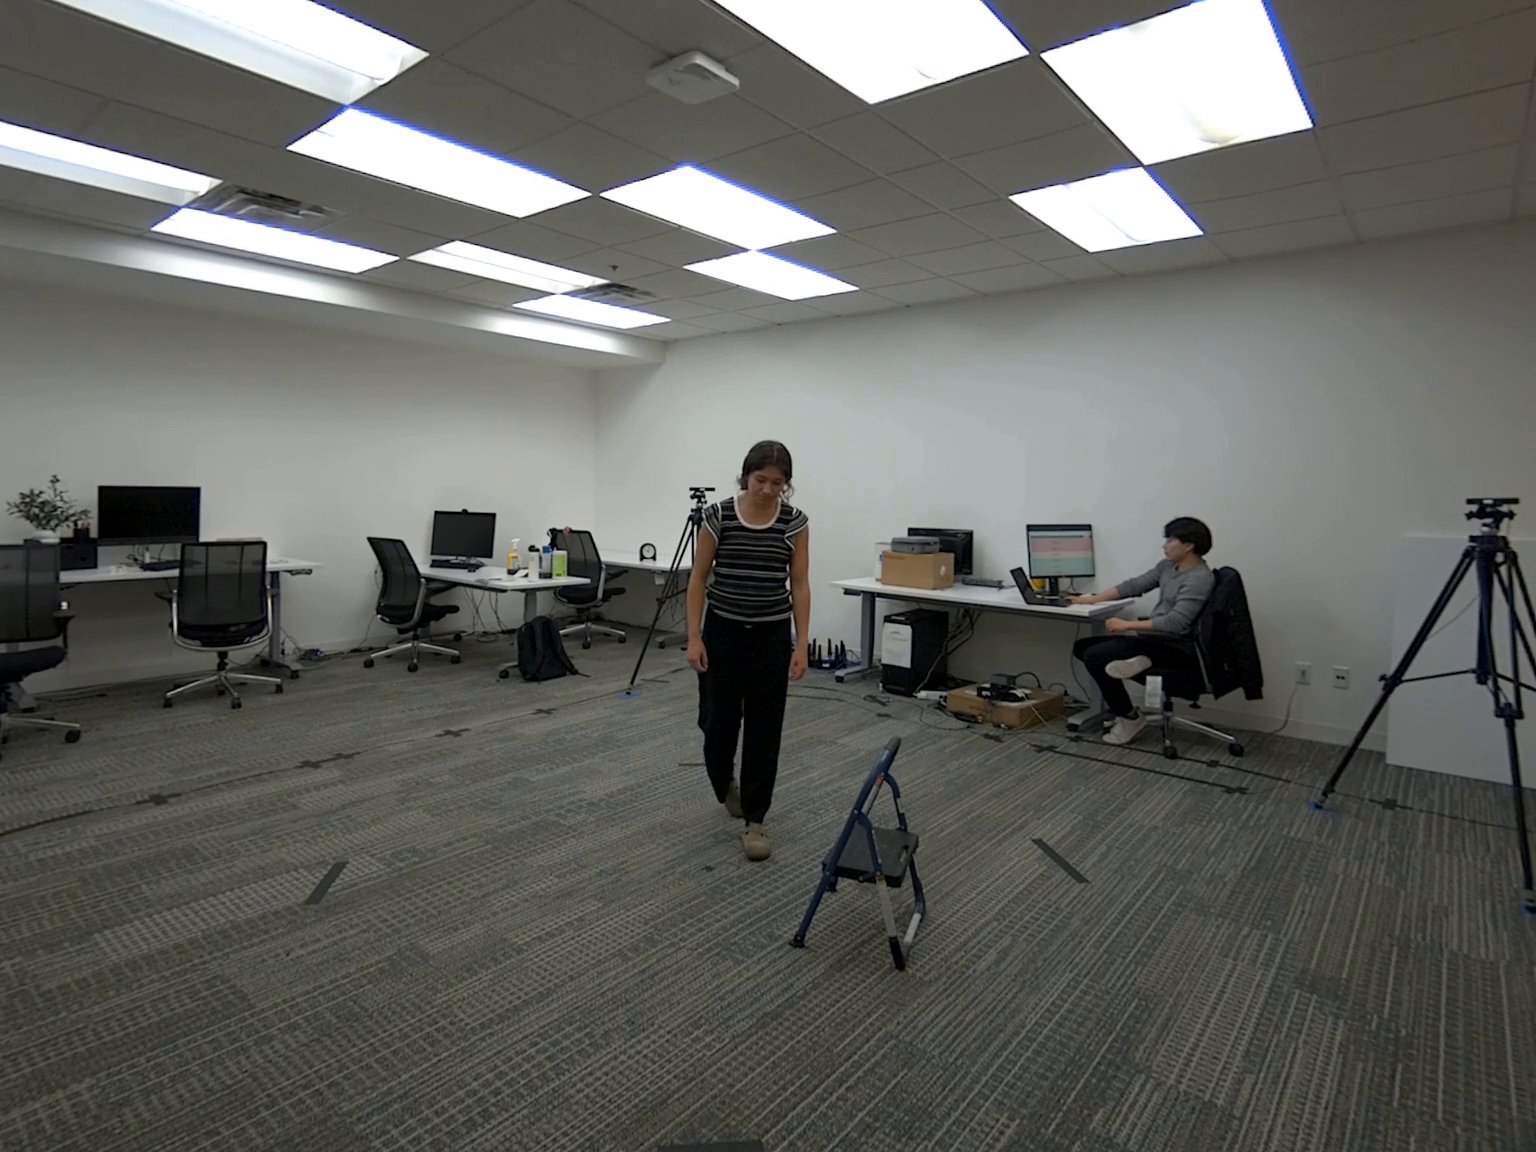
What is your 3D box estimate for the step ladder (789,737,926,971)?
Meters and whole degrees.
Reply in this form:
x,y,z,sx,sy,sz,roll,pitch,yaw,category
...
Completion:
x,y,z,sx,sy,sz,roll,pitch,yaw,category
0.299,0.816,2.705,0.357,0.604,0.422,2,4,20,step ladder
